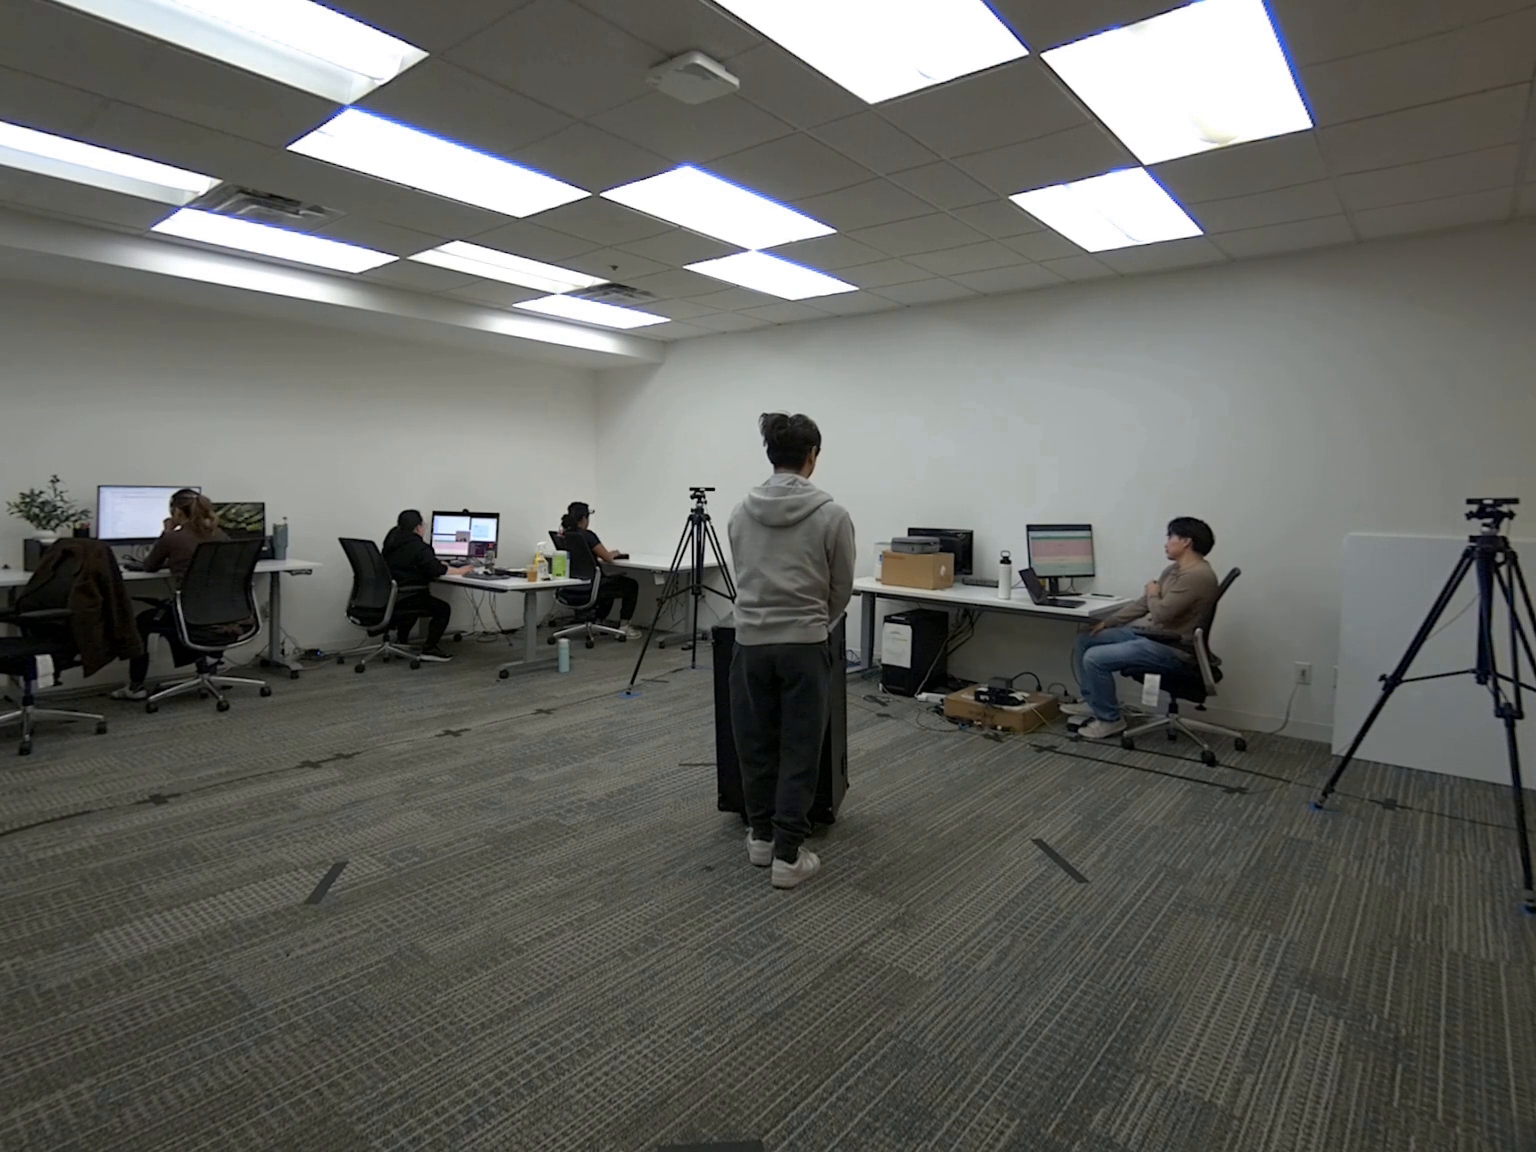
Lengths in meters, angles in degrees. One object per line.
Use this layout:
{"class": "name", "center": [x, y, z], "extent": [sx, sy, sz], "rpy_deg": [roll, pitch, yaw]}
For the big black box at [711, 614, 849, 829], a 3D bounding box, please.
{"class": "big black box", "center": [0.053, 0.591, 3.538], "extent": [0.531, 0.854, 0.392], "rpy_deg": [1, 9, 17]}
